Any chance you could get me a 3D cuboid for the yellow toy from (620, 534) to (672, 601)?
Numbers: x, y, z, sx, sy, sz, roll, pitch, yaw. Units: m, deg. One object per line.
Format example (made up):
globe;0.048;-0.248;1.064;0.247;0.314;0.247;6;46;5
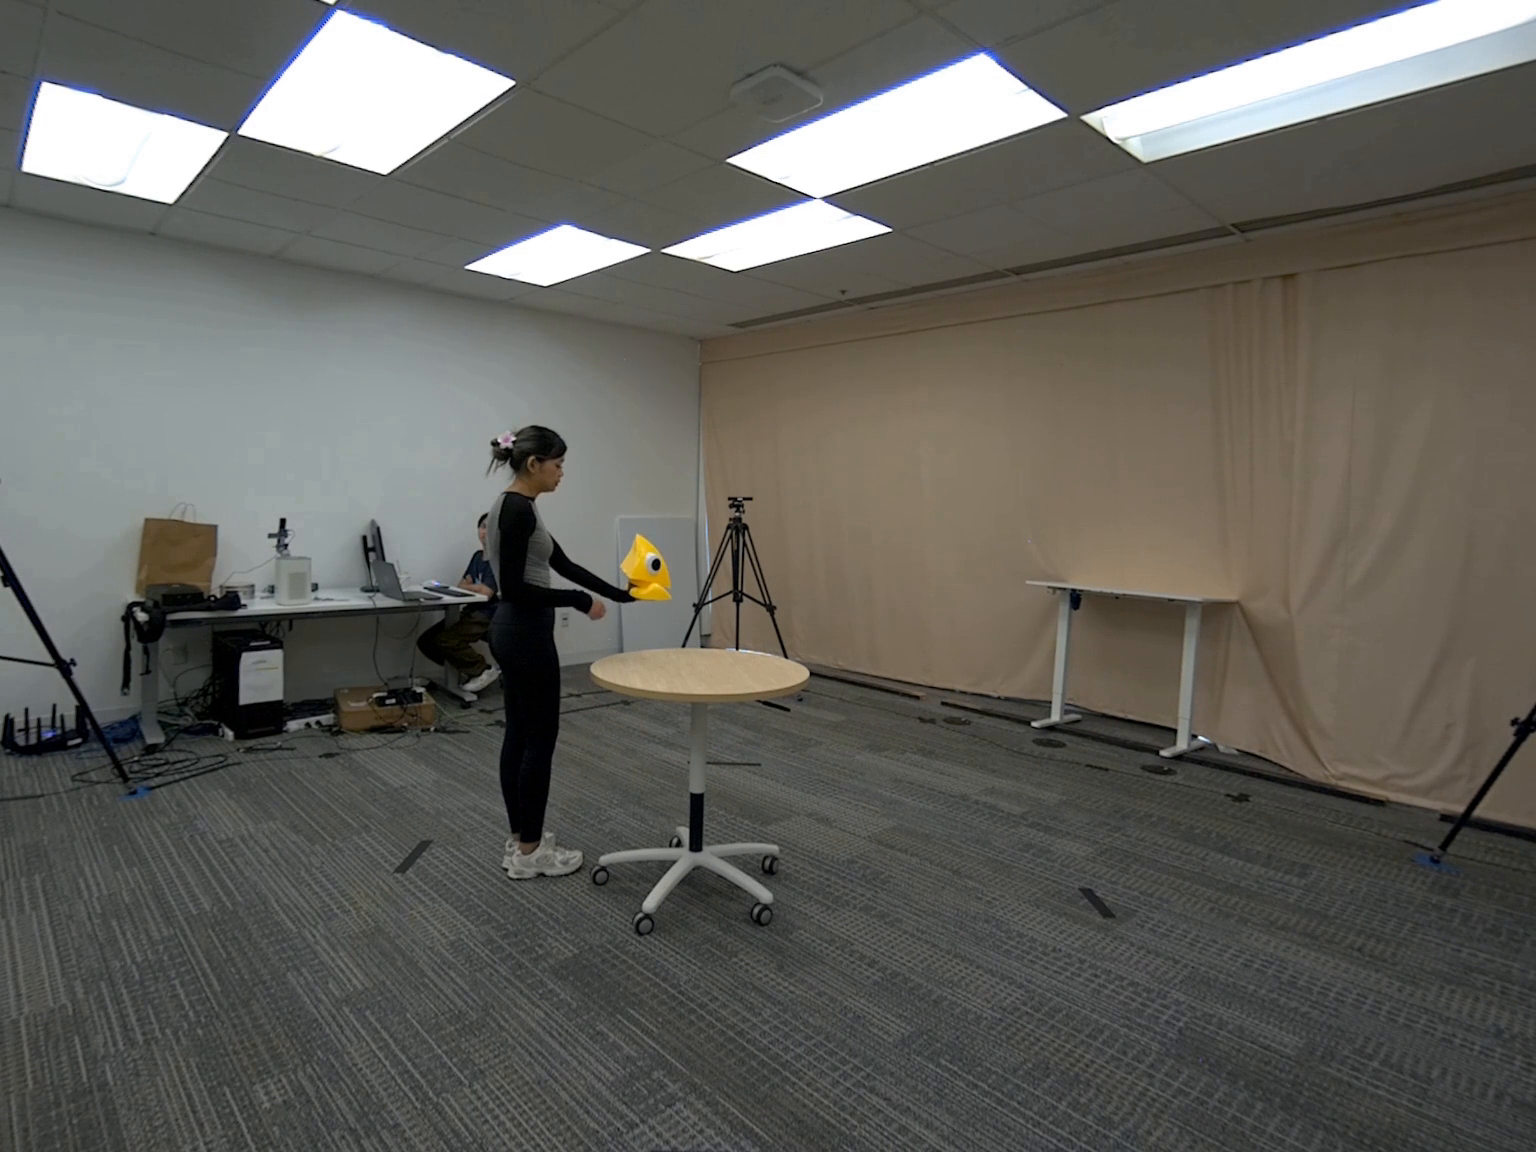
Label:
yellow toy;-0.472;-0.046;3.252;0.190;0.229;0.209;4;10;-21
